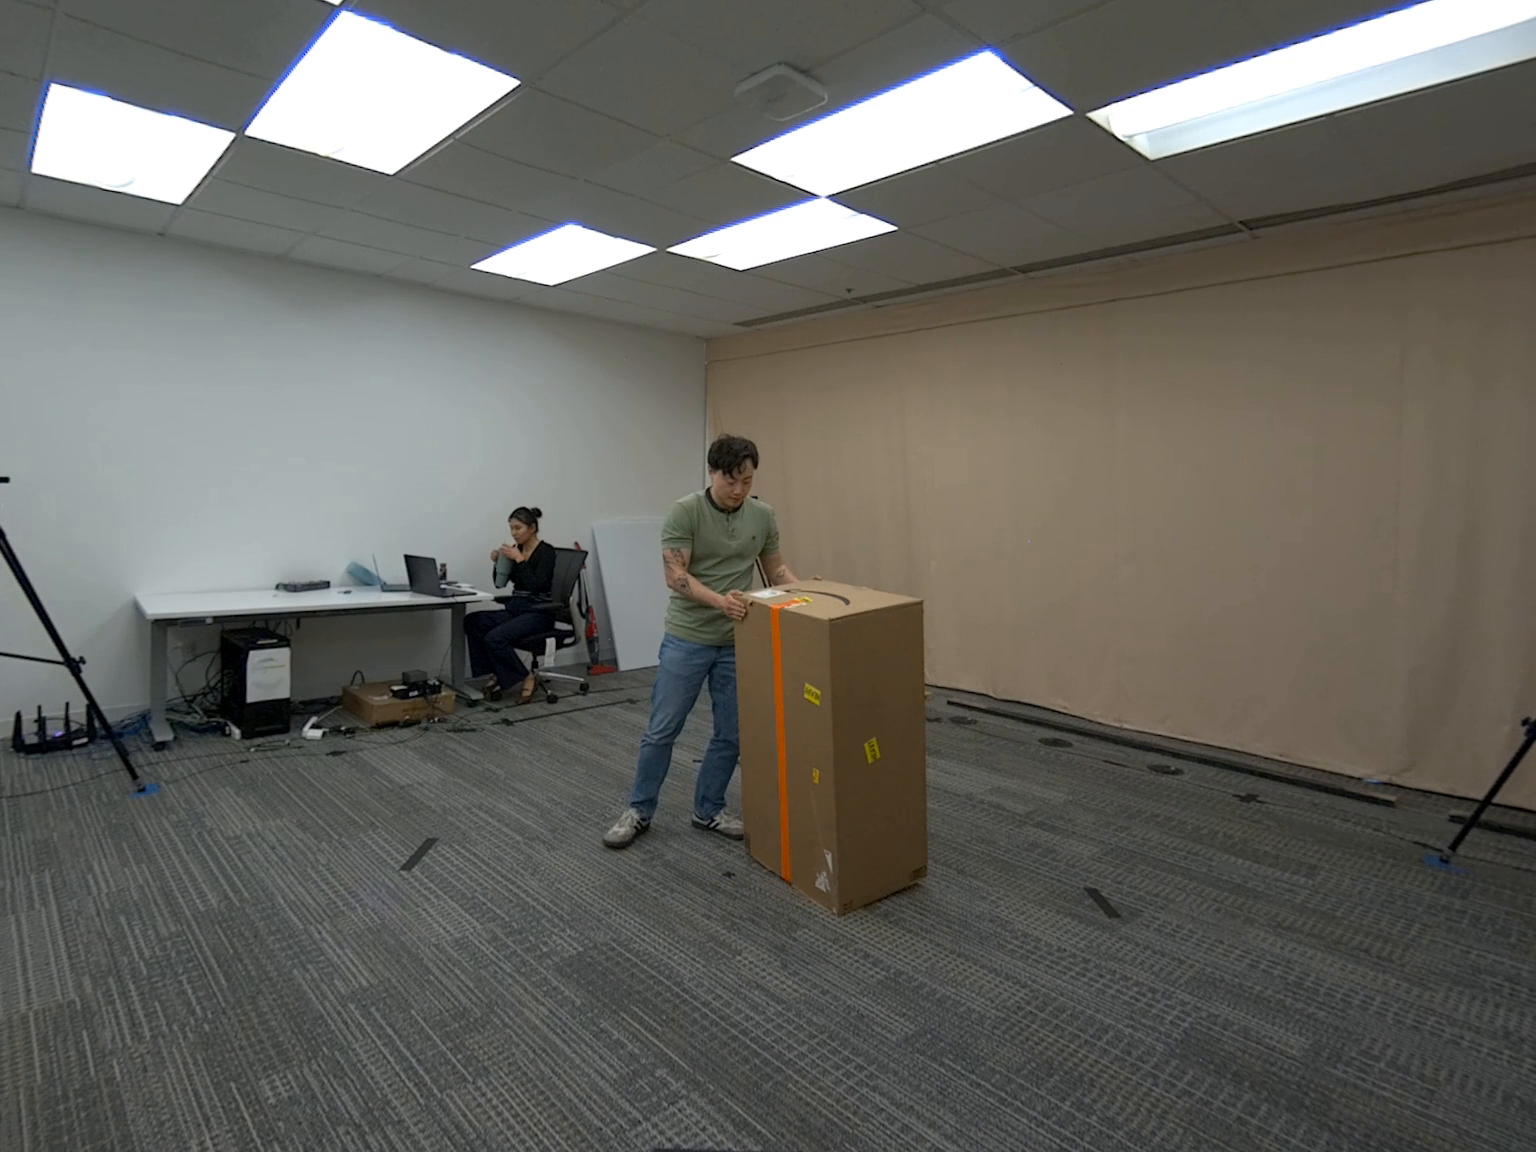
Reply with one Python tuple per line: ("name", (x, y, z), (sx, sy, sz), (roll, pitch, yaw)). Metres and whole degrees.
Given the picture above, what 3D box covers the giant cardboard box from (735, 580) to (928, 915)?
("giant cardboard box", (0.213, 0.582, 3.085), (0.418, 1.019, 0.592), (-8, 9, -33))
